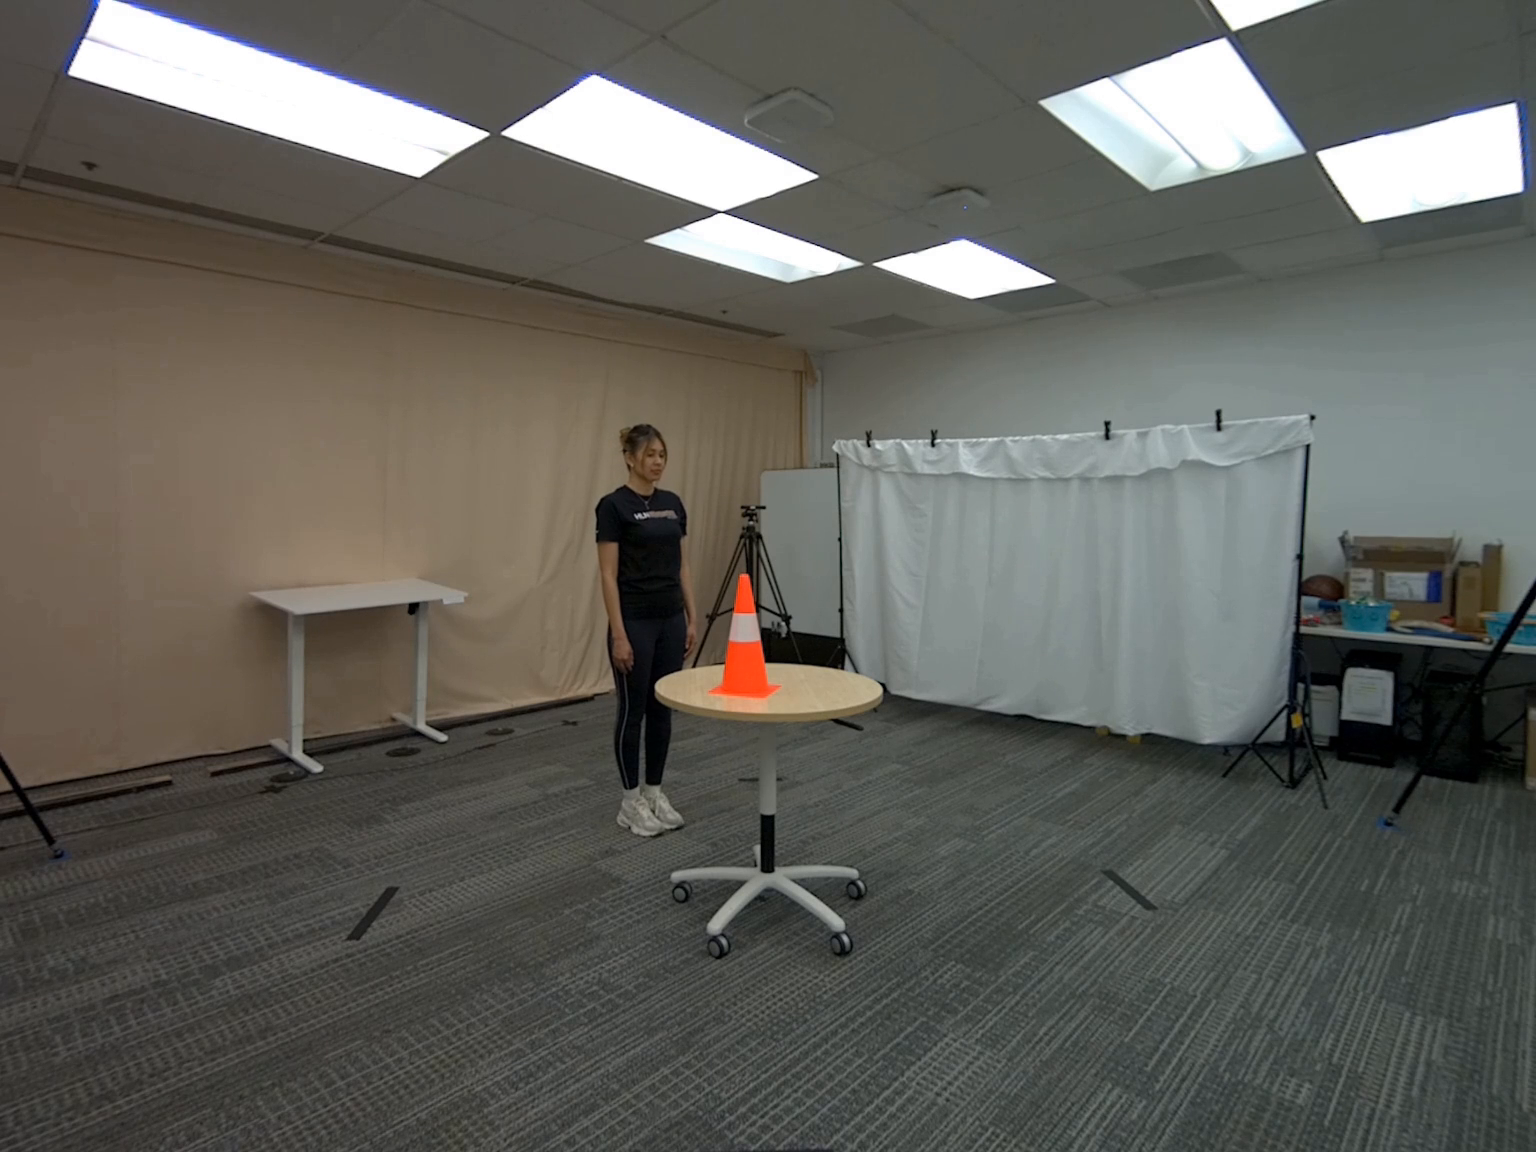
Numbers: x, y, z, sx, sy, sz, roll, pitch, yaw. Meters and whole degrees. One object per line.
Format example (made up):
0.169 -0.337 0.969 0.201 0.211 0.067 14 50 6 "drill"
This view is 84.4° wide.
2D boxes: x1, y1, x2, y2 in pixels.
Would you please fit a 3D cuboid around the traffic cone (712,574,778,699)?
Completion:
-0.068 0.189 2.784 0.208 0.383 0.200 2 1 24 "traffic cone"
